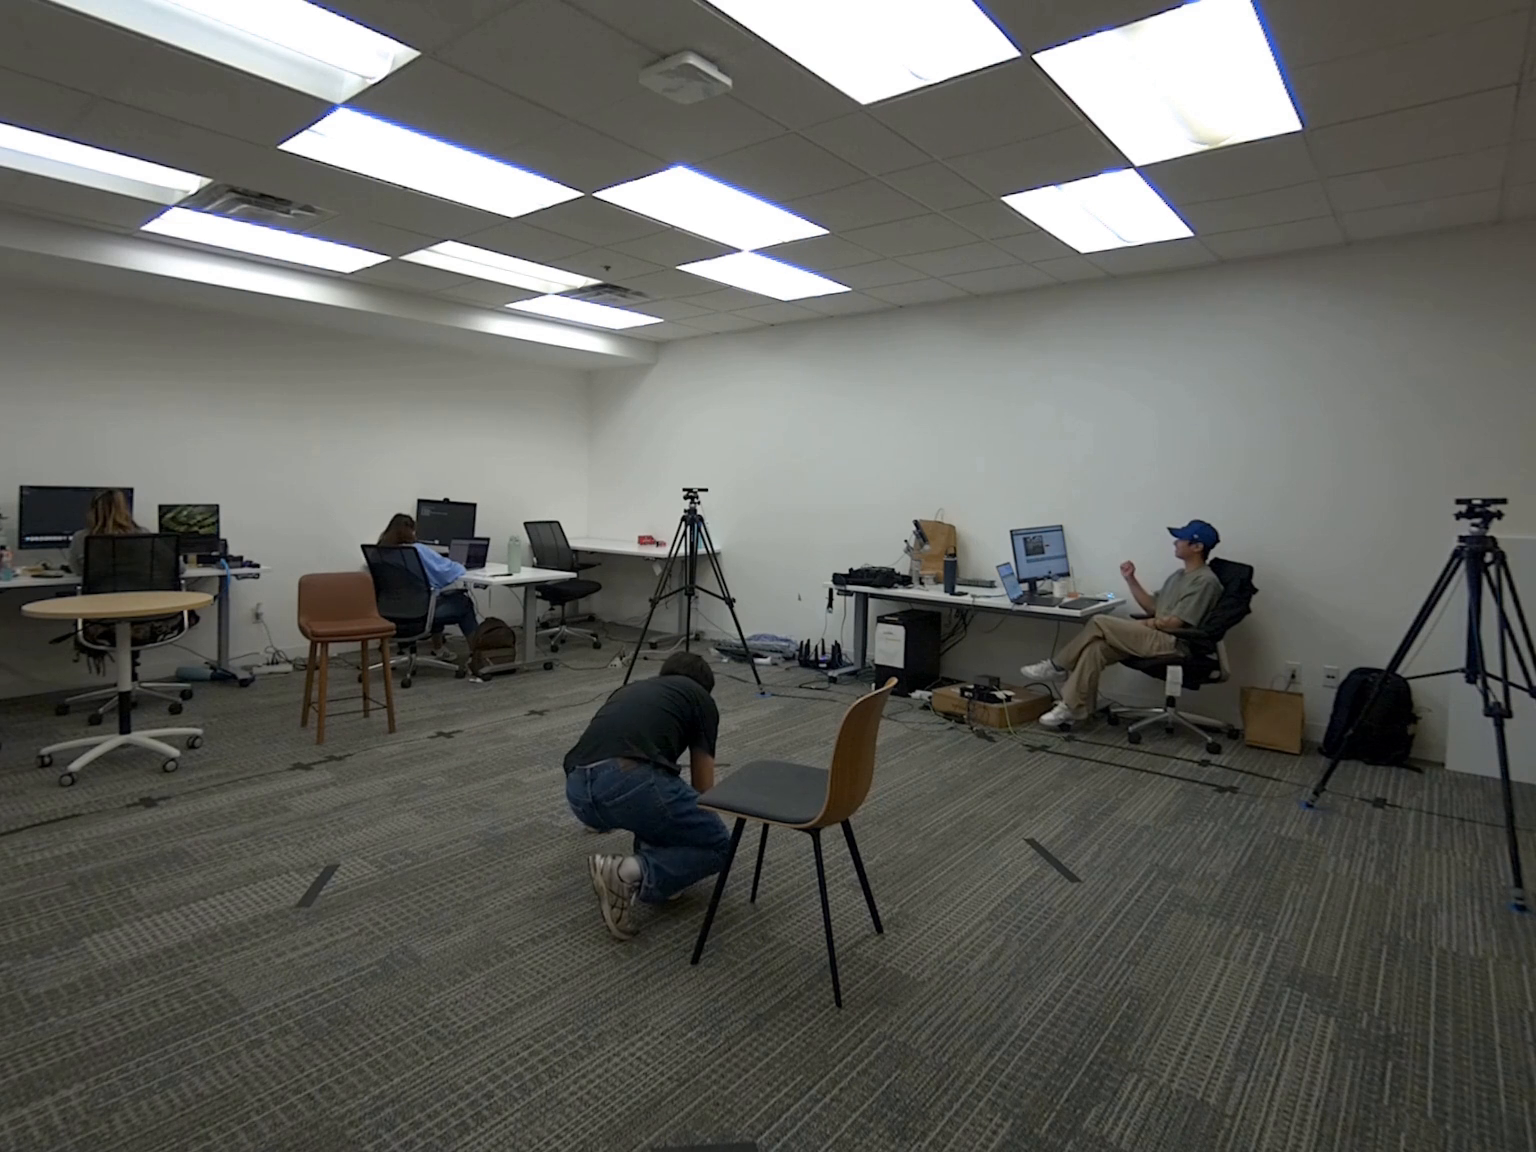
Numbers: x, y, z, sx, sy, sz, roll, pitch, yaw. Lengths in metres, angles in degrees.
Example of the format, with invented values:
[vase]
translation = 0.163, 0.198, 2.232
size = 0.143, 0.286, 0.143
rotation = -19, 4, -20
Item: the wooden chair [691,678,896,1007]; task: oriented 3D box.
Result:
[wooden chair]
translation = 0.068, 0.701, 2.563
size = 0.537, 0.874, 0.467
rotation = 7, 6, 24
